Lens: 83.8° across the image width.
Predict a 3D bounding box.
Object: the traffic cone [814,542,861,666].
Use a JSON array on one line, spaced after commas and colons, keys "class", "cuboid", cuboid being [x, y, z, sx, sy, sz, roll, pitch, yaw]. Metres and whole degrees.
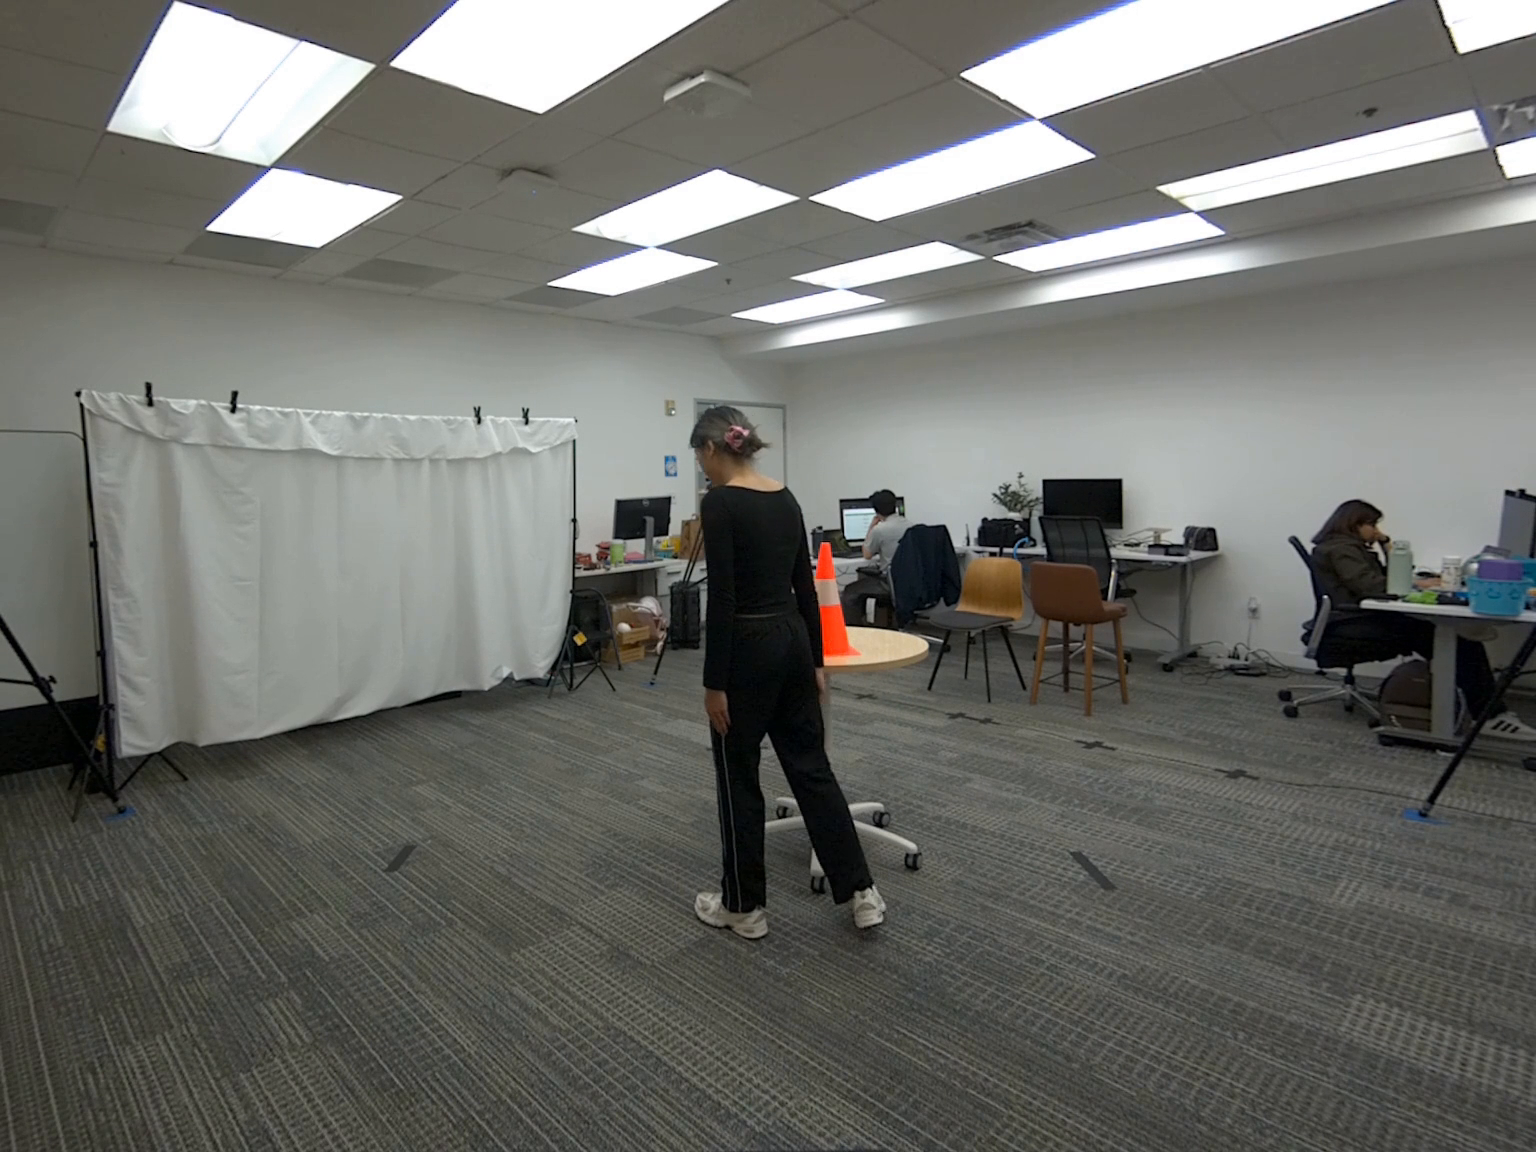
[{"class": "traffic cone", "cuboid": [0.211, 0.078, 2.993, 0.202, 0.382, 0.206, -2, 5, -13]}]
